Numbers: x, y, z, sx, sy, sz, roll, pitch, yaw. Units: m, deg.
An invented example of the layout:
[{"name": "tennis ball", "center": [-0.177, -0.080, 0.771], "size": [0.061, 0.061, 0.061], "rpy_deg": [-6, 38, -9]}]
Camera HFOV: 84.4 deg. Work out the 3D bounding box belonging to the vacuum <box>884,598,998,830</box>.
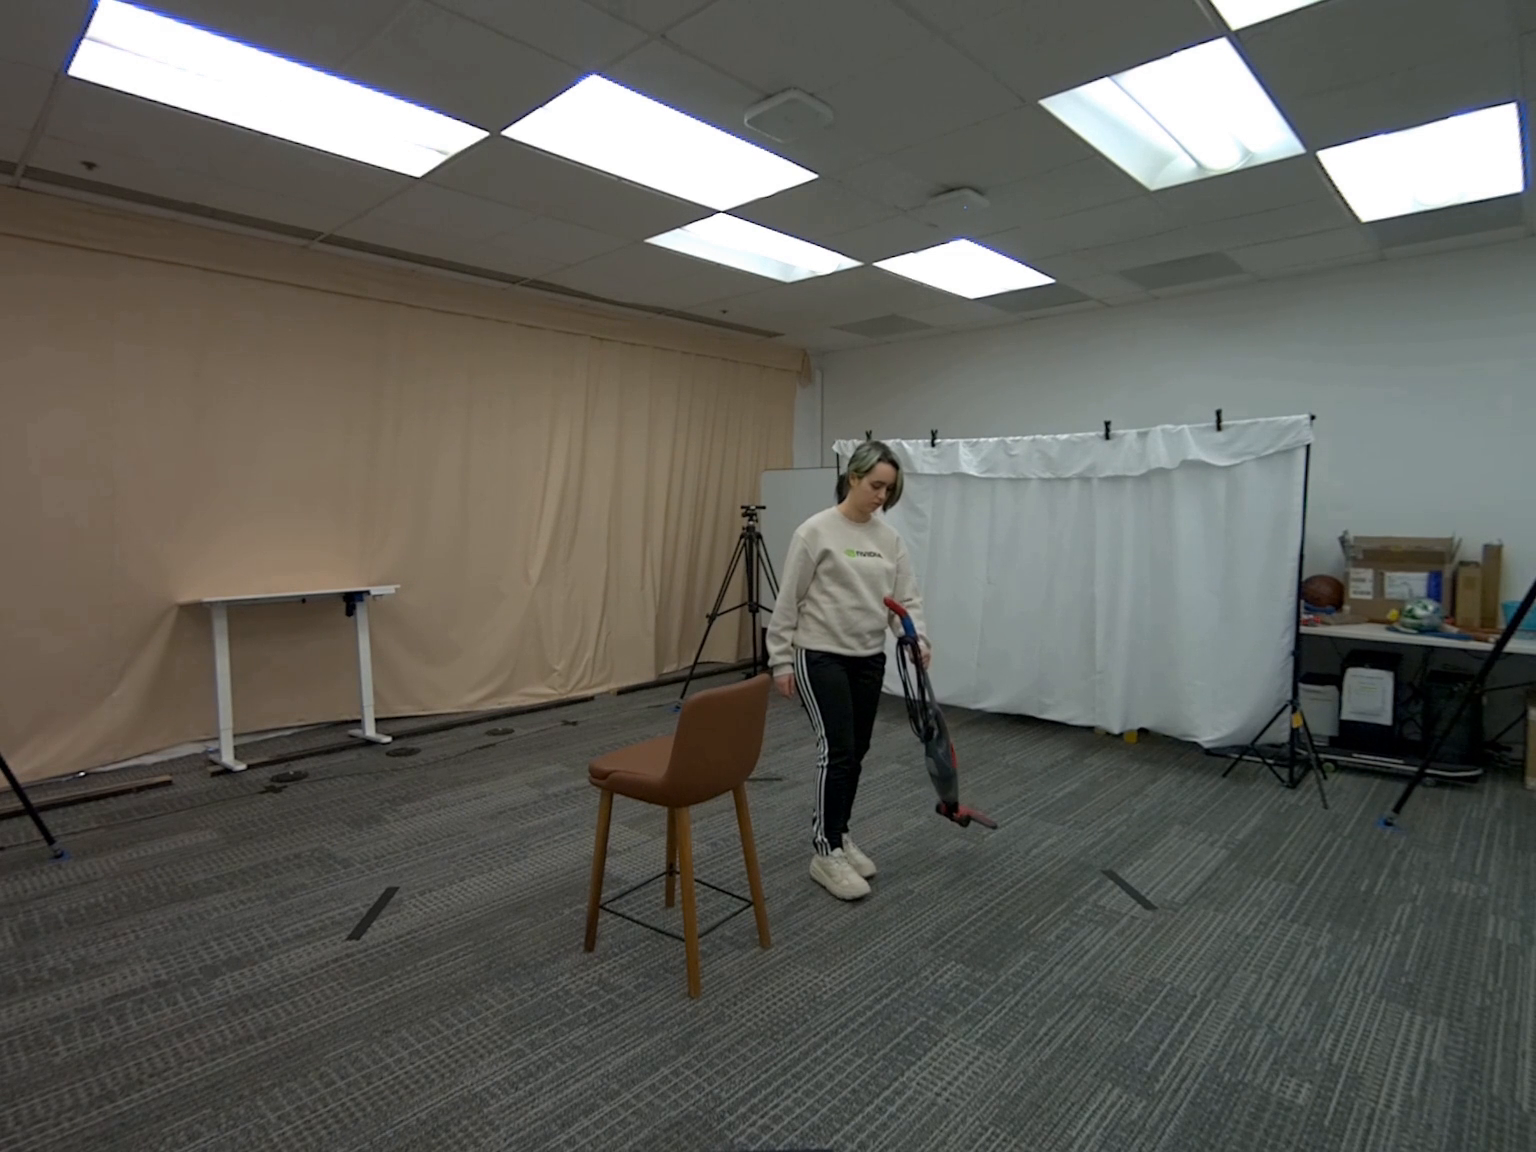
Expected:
[{"name": "vacuum", "center": [0.583, 0.516, 3.040], "size": [0.142, 1.025, 0.261], "rpy_deg": [-35, 29, -25]}]
